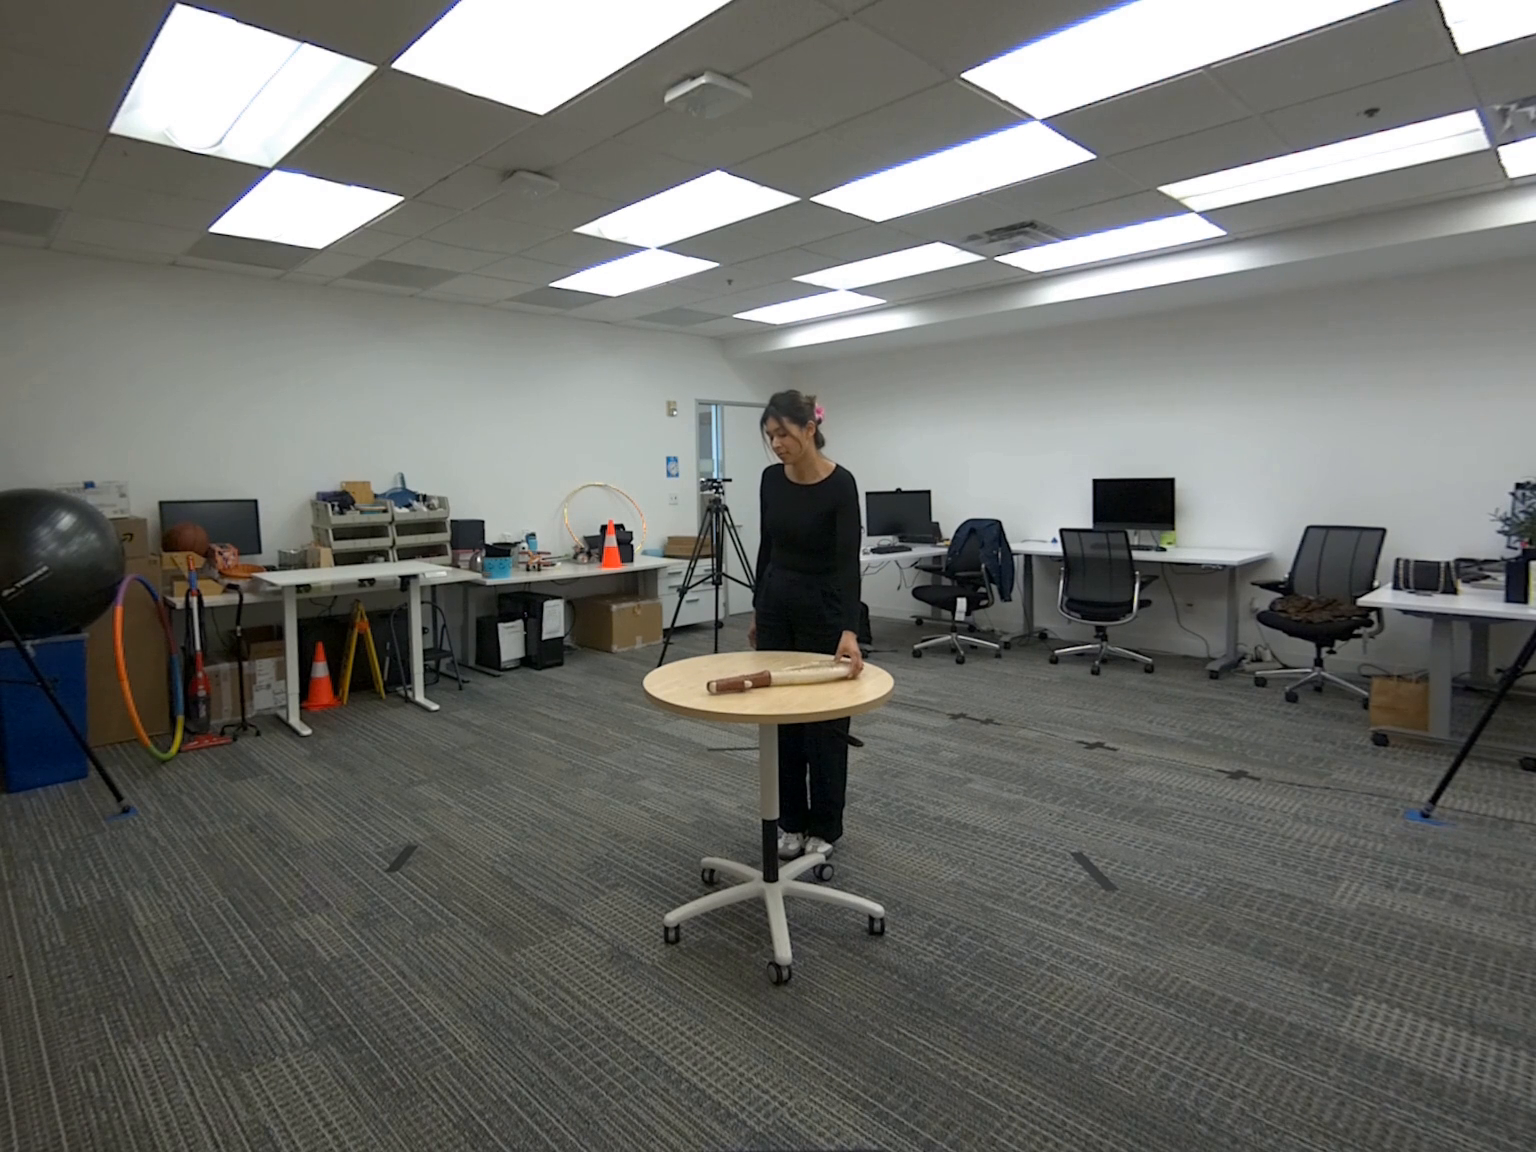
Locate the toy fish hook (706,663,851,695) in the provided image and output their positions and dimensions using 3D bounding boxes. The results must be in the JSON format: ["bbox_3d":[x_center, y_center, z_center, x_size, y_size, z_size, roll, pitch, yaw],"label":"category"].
[{"bbox_3d":[0.039,0.310,2.593,0.497,0.048,0.228,-2,-1,-22],"label":"toy fish hook"}]
